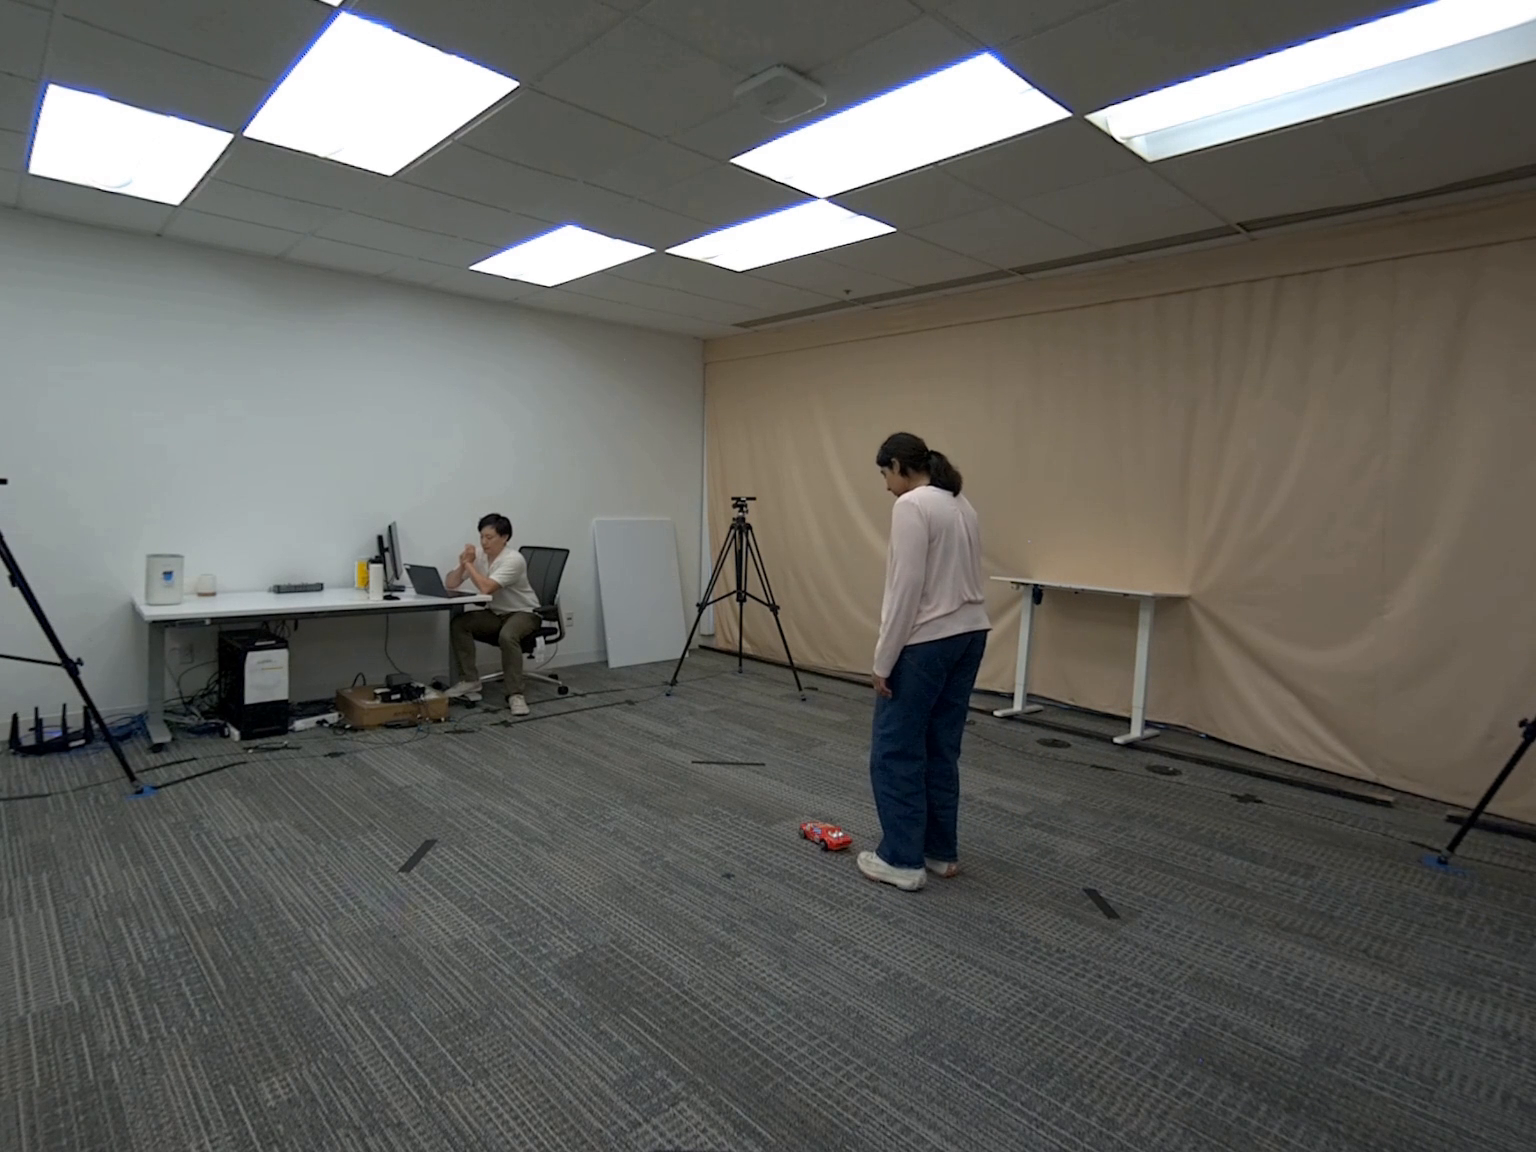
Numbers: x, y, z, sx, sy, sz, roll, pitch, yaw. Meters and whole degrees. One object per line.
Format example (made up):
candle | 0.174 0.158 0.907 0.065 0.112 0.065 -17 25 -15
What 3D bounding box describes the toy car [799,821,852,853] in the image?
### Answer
toy car | 0.232 1.060 3.420 0.127 0.083 0.259 -1 -5 -32
